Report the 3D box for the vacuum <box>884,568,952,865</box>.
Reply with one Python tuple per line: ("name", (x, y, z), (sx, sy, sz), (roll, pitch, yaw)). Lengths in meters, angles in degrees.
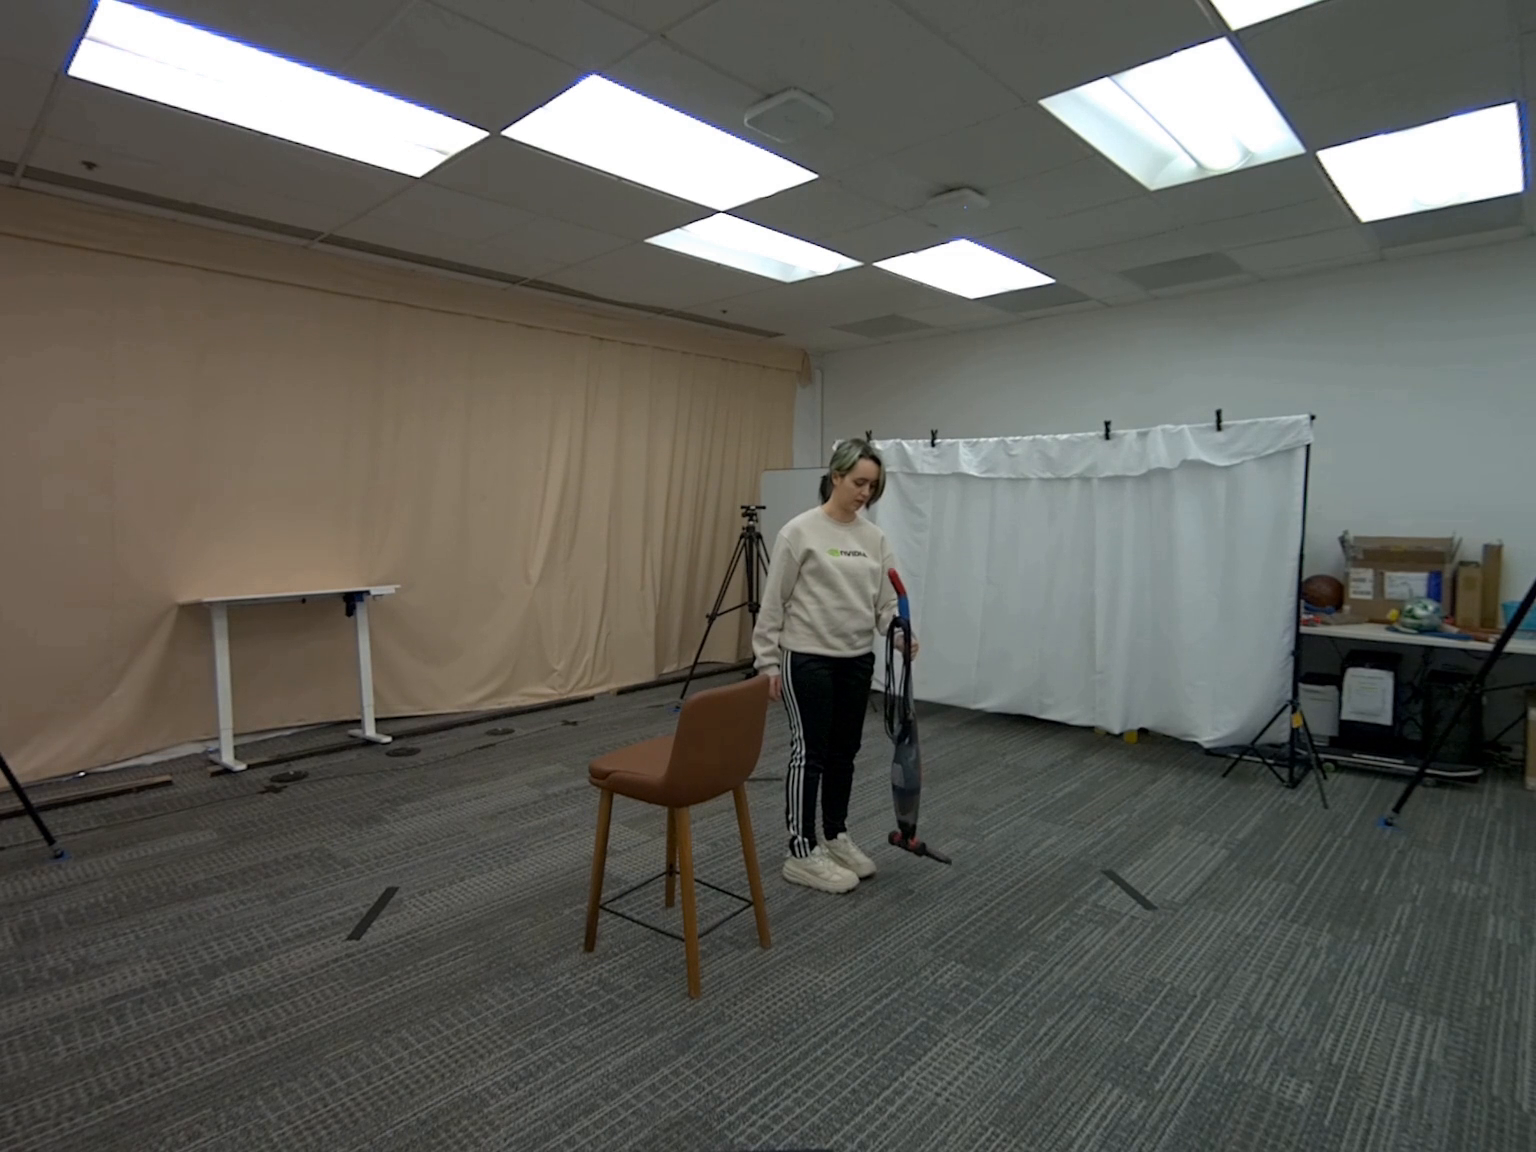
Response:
("vacuum", (0.490, 0.494, 2.949), (0.261, 1.039, 0.140), (8, 19, 44))
